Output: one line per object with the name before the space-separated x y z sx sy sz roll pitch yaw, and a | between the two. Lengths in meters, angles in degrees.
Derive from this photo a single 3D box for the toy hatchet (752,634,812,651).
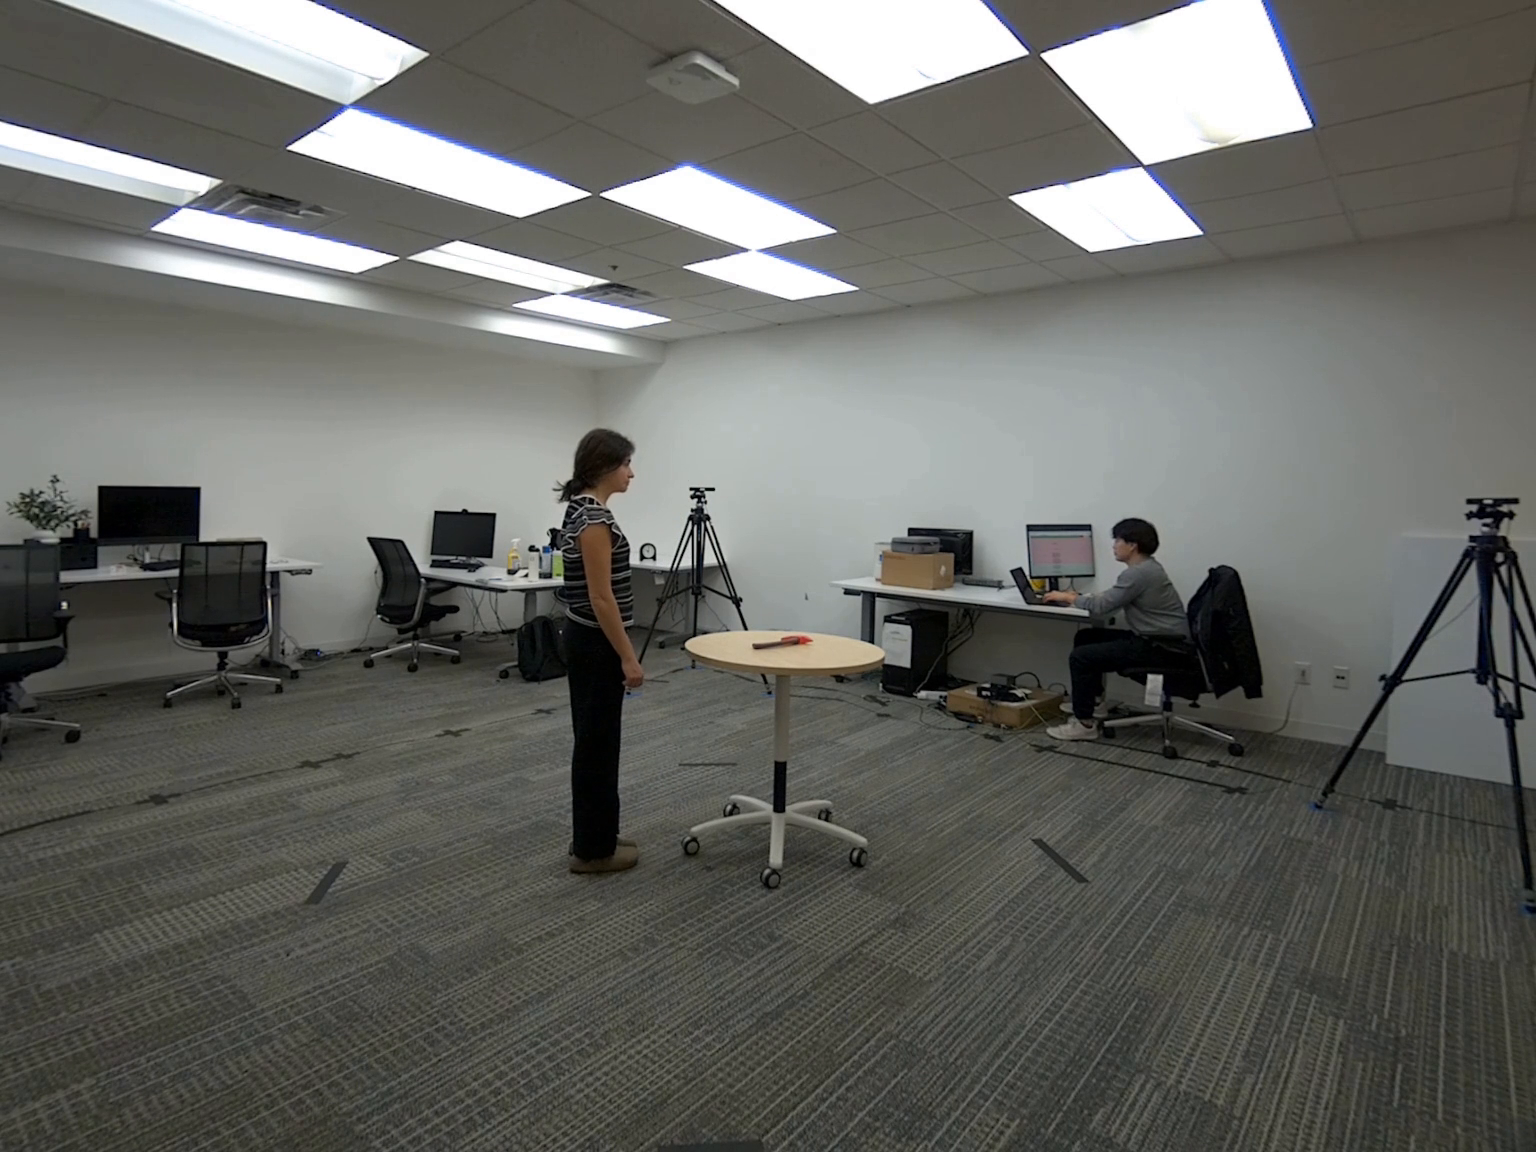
toy hatchet | 0.031 0.255 3.327 0.263 0.029 0.135 -3 8 -30
